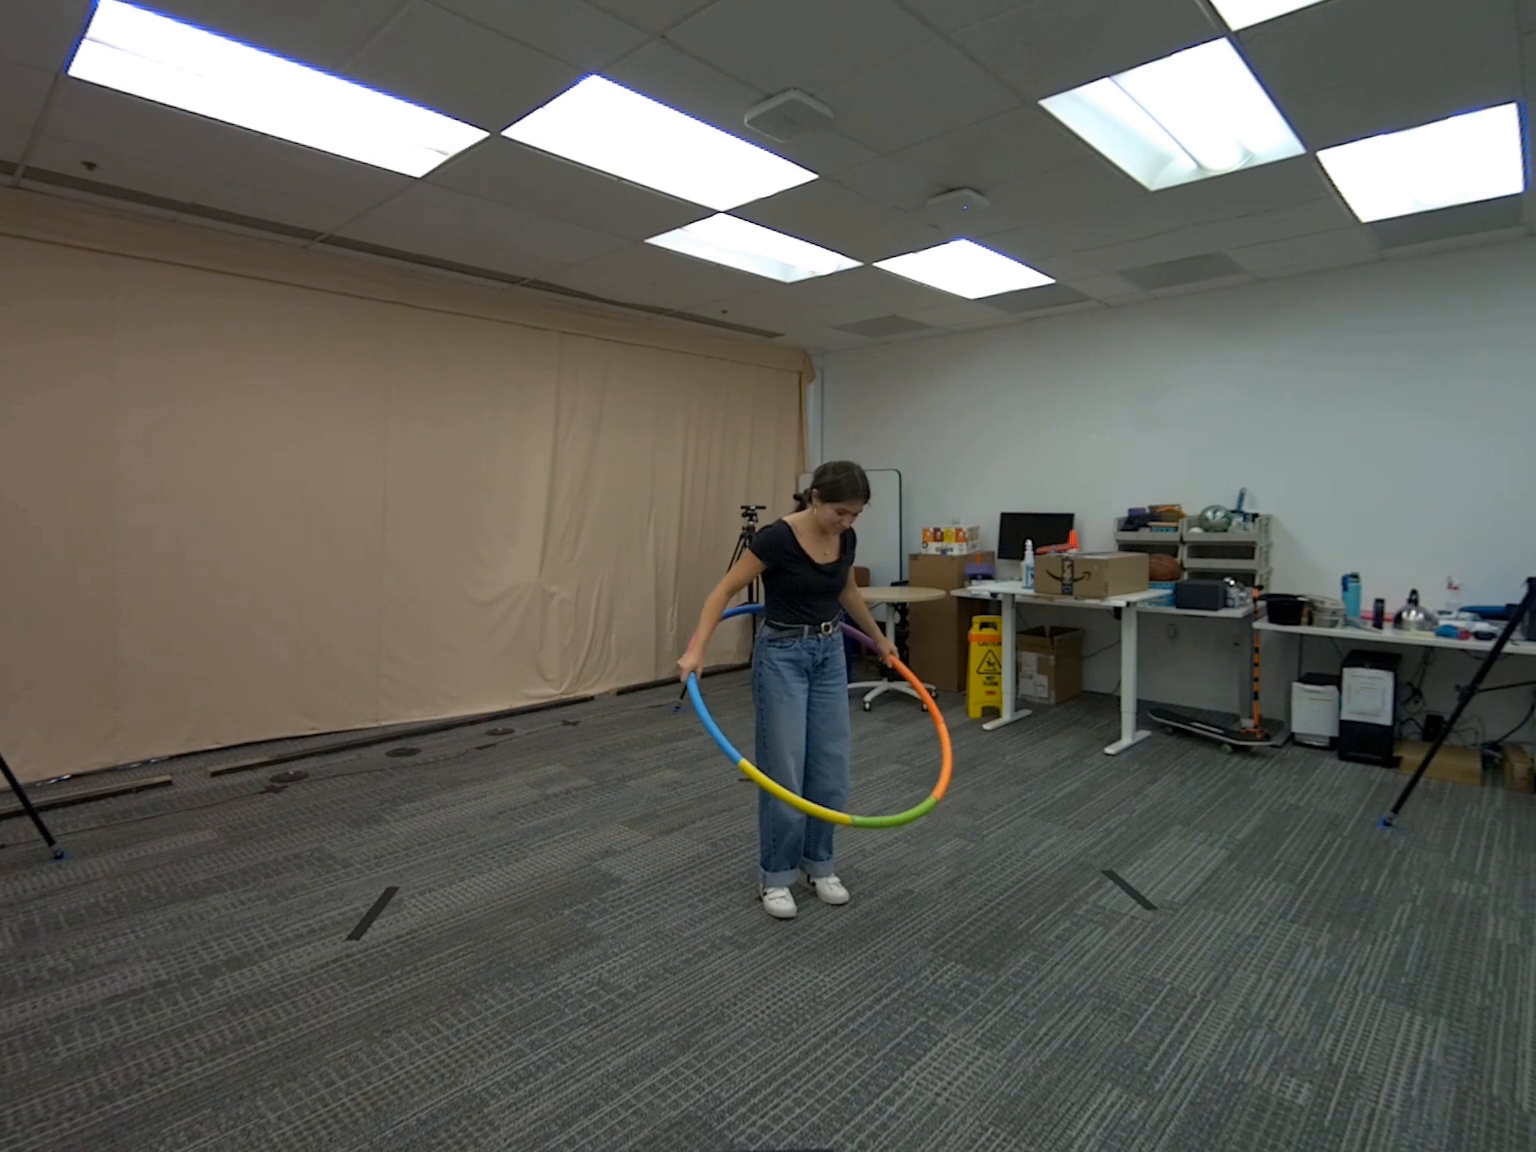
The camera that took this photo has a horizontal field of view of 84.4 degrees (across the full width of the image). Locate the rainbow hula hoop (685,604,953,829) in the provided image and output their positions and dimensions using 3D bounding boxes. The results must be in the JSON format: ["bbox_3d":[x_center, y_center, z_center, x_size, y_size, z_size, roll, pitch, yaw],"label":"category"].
[{"bbox_3d":[0.207,0.438,2.886,0.963,0.035,0.997,16,34,-14],"label":"rainbow hula hoop"}]
